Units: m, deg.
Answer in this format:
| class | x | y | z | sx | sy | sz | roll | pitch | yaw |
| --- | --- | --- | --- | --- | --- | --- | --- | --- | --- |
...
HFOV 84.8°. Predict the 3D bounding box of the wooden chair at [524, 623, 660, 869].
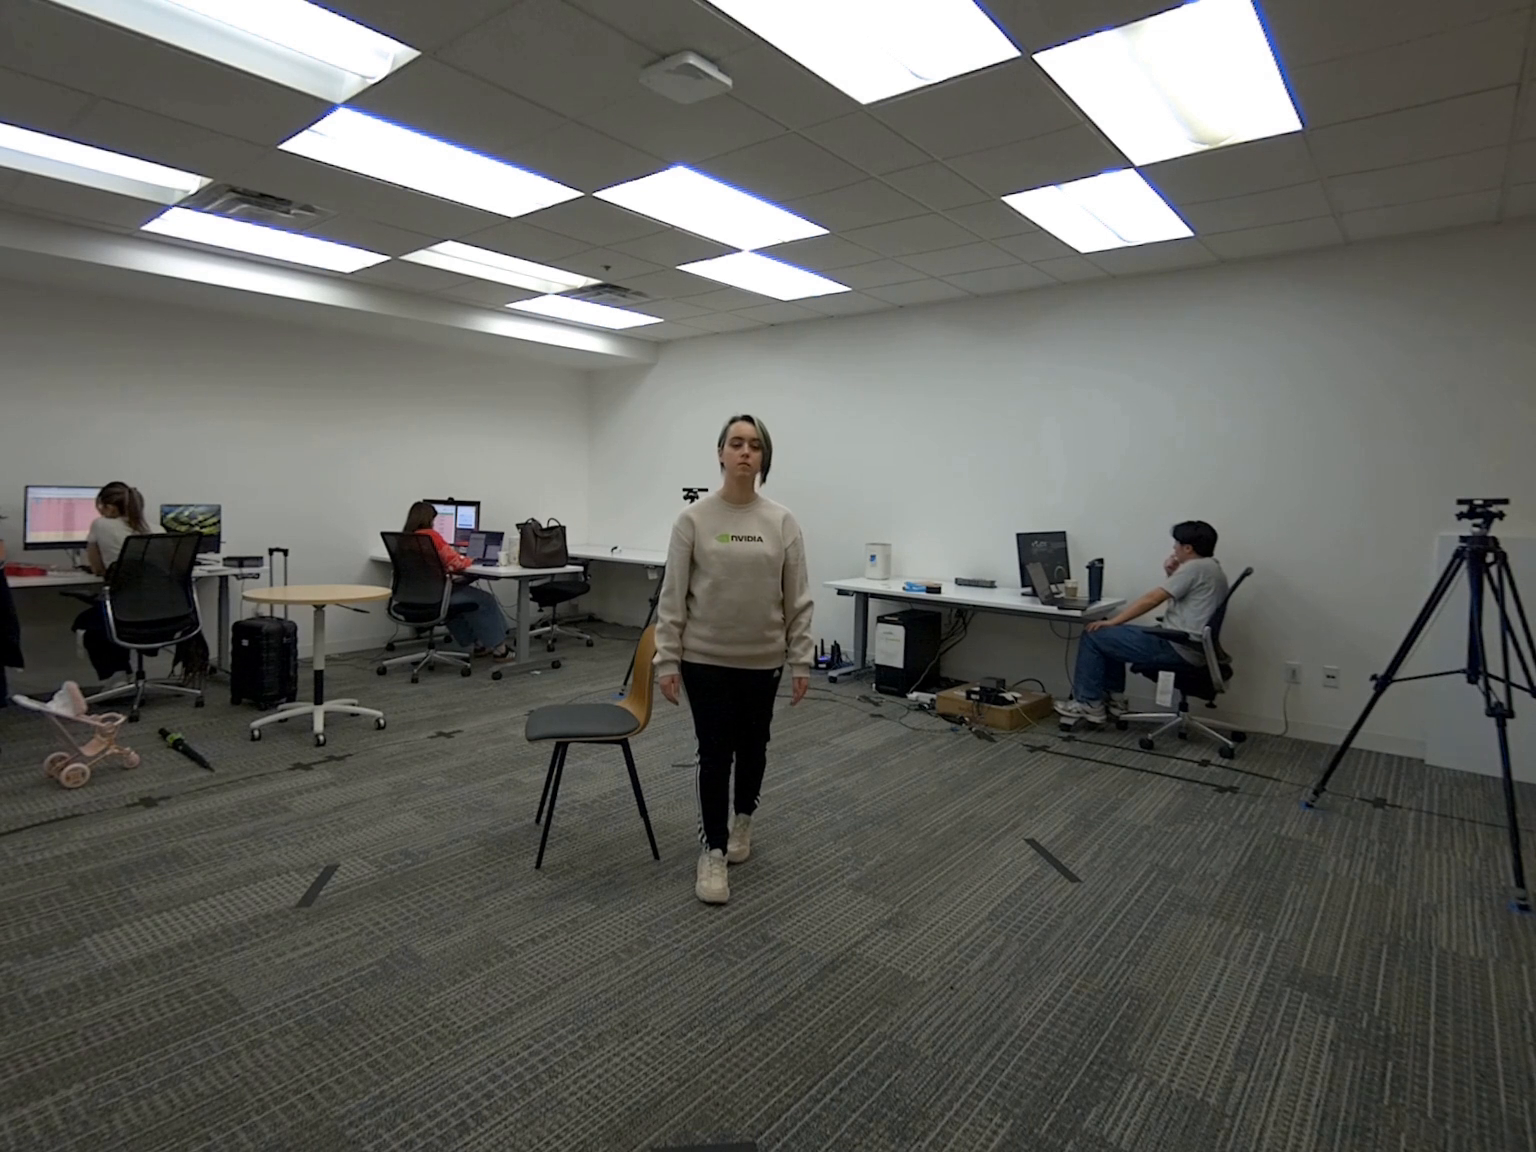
| class | x | y | z | sx | sy | sz | roll | pitch | yaw |
| --- | --- | --- | --- | --- | --- | --- | --- | --- | --- |
| wooden chair | -0.696 | 0.615 | 3.312 | 0.515 | 0.875 | 0.487 | 4 | 3 | -16 |
